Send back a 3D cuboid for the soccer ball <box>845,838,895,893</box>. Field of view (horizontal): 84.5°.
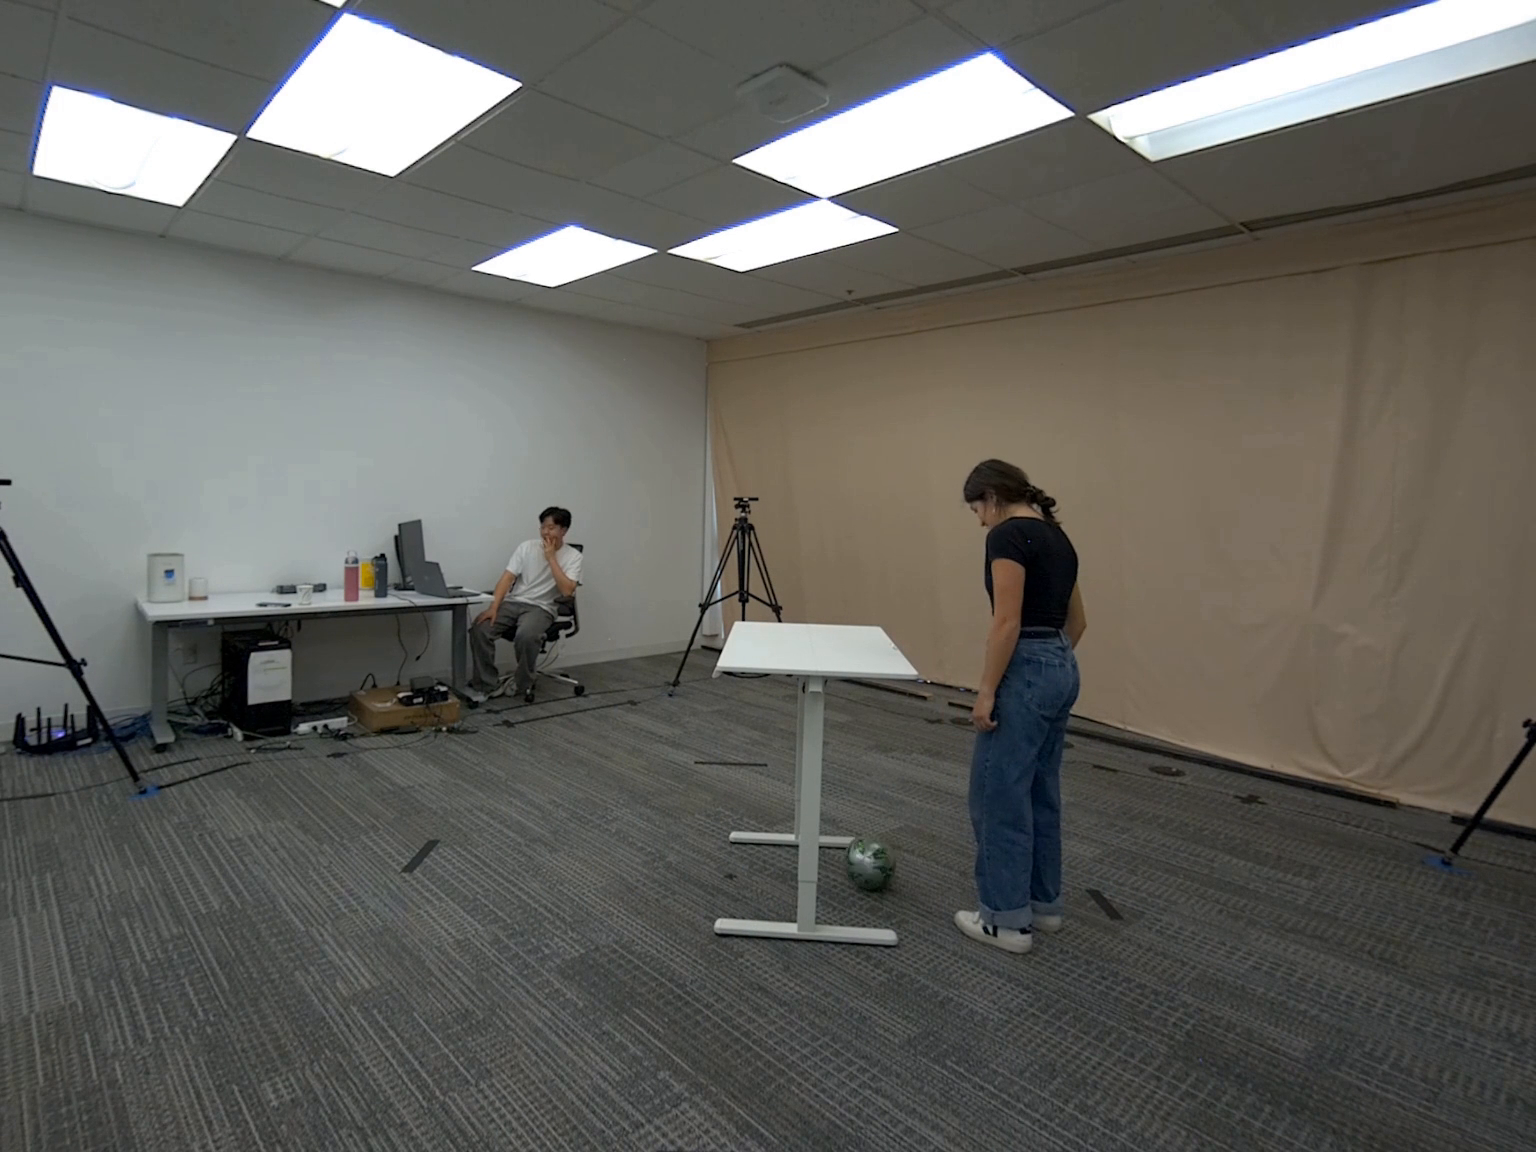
[{"bbox_3d":[0.361,1.038,3.031,0.187,0.187,0.188,1,4,-1],"label":"soccer ball"}]
